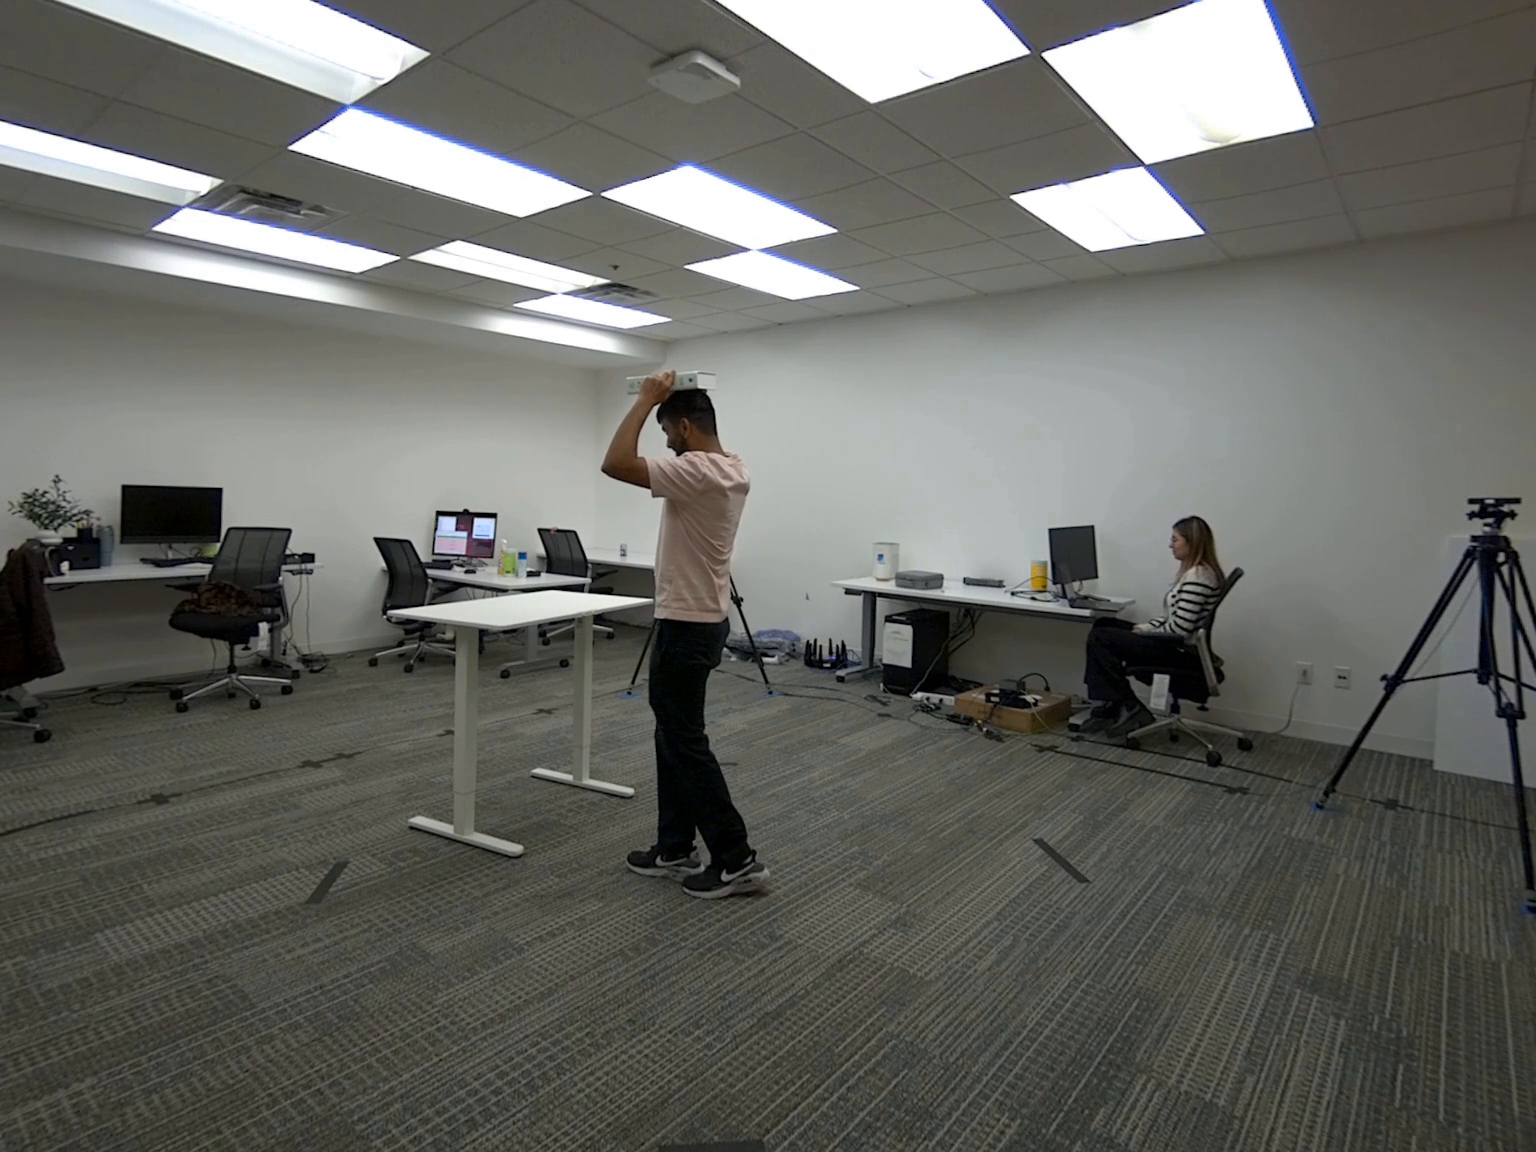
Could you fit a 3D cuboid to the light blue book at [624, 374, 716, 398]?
[{"bbox_3d":[-0.339,-0.662,2.925,0.265,0.058,0.190,0,11,16],"label":"light blue book"}]
